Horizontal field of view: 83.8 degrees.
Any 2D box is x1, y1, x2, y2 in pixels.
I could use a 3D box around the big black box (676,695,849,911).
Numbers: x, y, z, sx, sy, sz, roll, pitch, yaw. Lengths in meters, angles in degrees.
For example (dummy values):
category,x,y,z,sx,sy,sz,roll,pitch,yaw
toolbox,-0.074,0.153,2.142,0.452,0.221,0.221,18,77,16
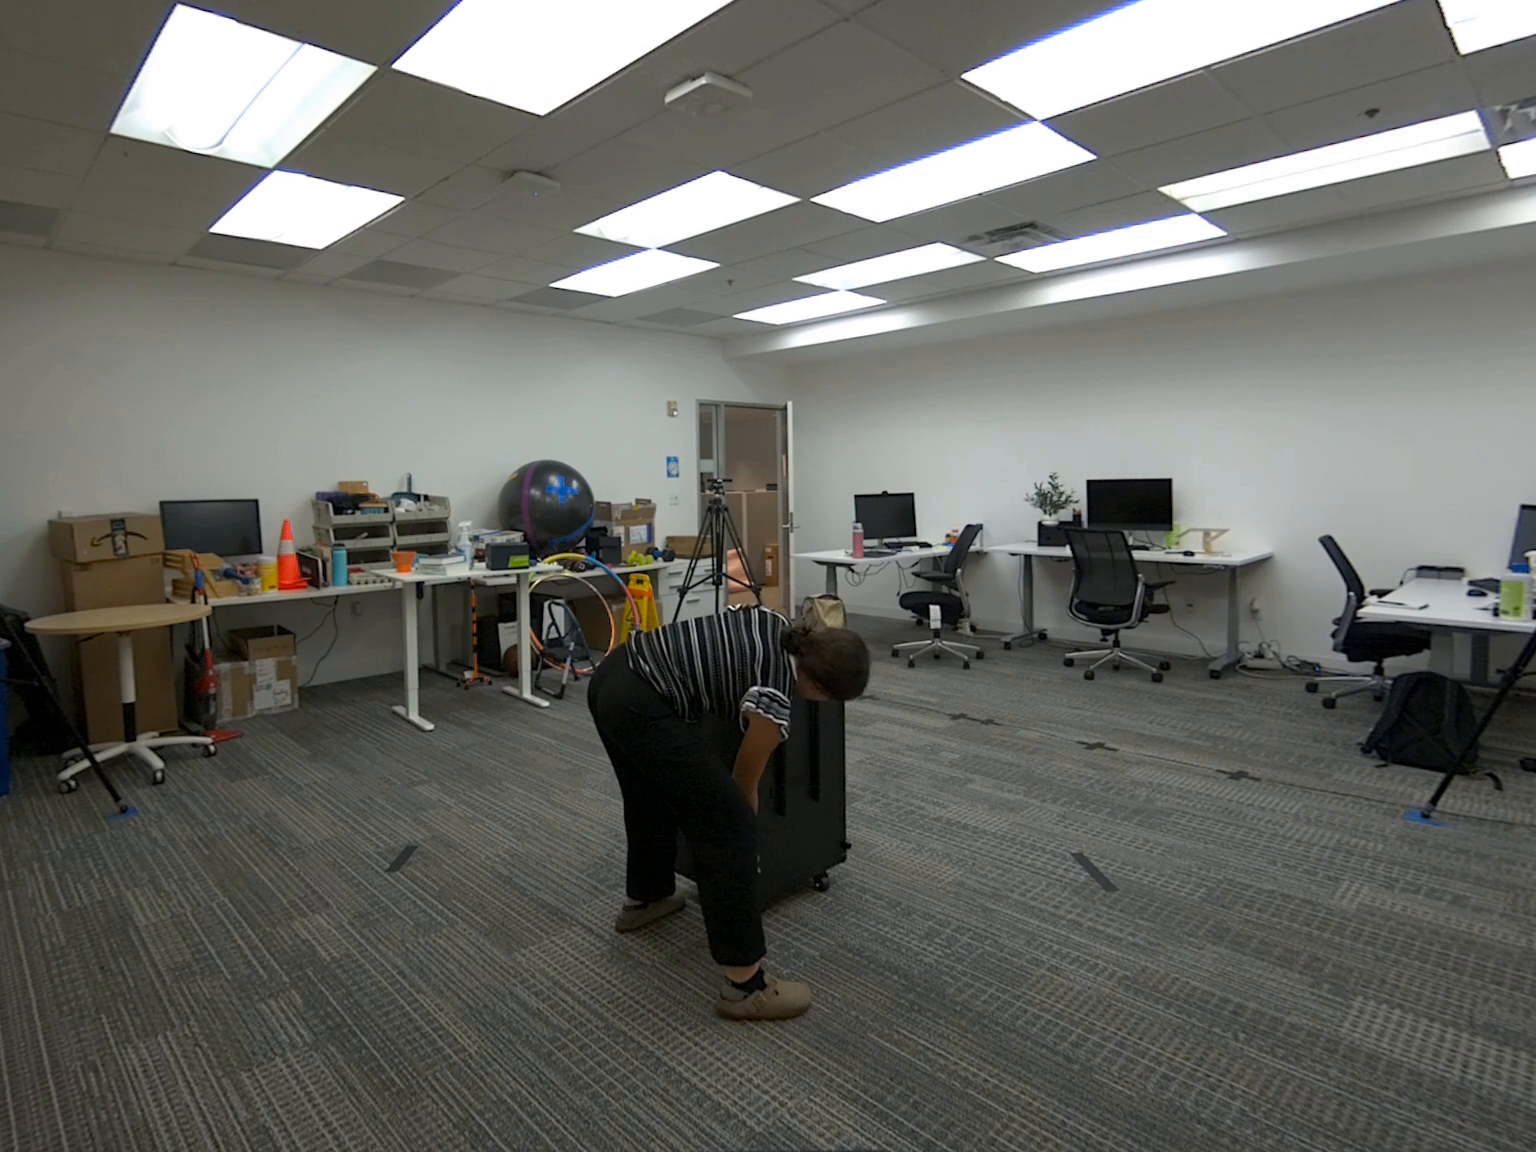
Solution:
category,x,y,z,sx,sy,sz,roll,pitch,yaw
big black box,-0.010,0.644,2.896,0.507,0.857,0.409,-6,8,-44
